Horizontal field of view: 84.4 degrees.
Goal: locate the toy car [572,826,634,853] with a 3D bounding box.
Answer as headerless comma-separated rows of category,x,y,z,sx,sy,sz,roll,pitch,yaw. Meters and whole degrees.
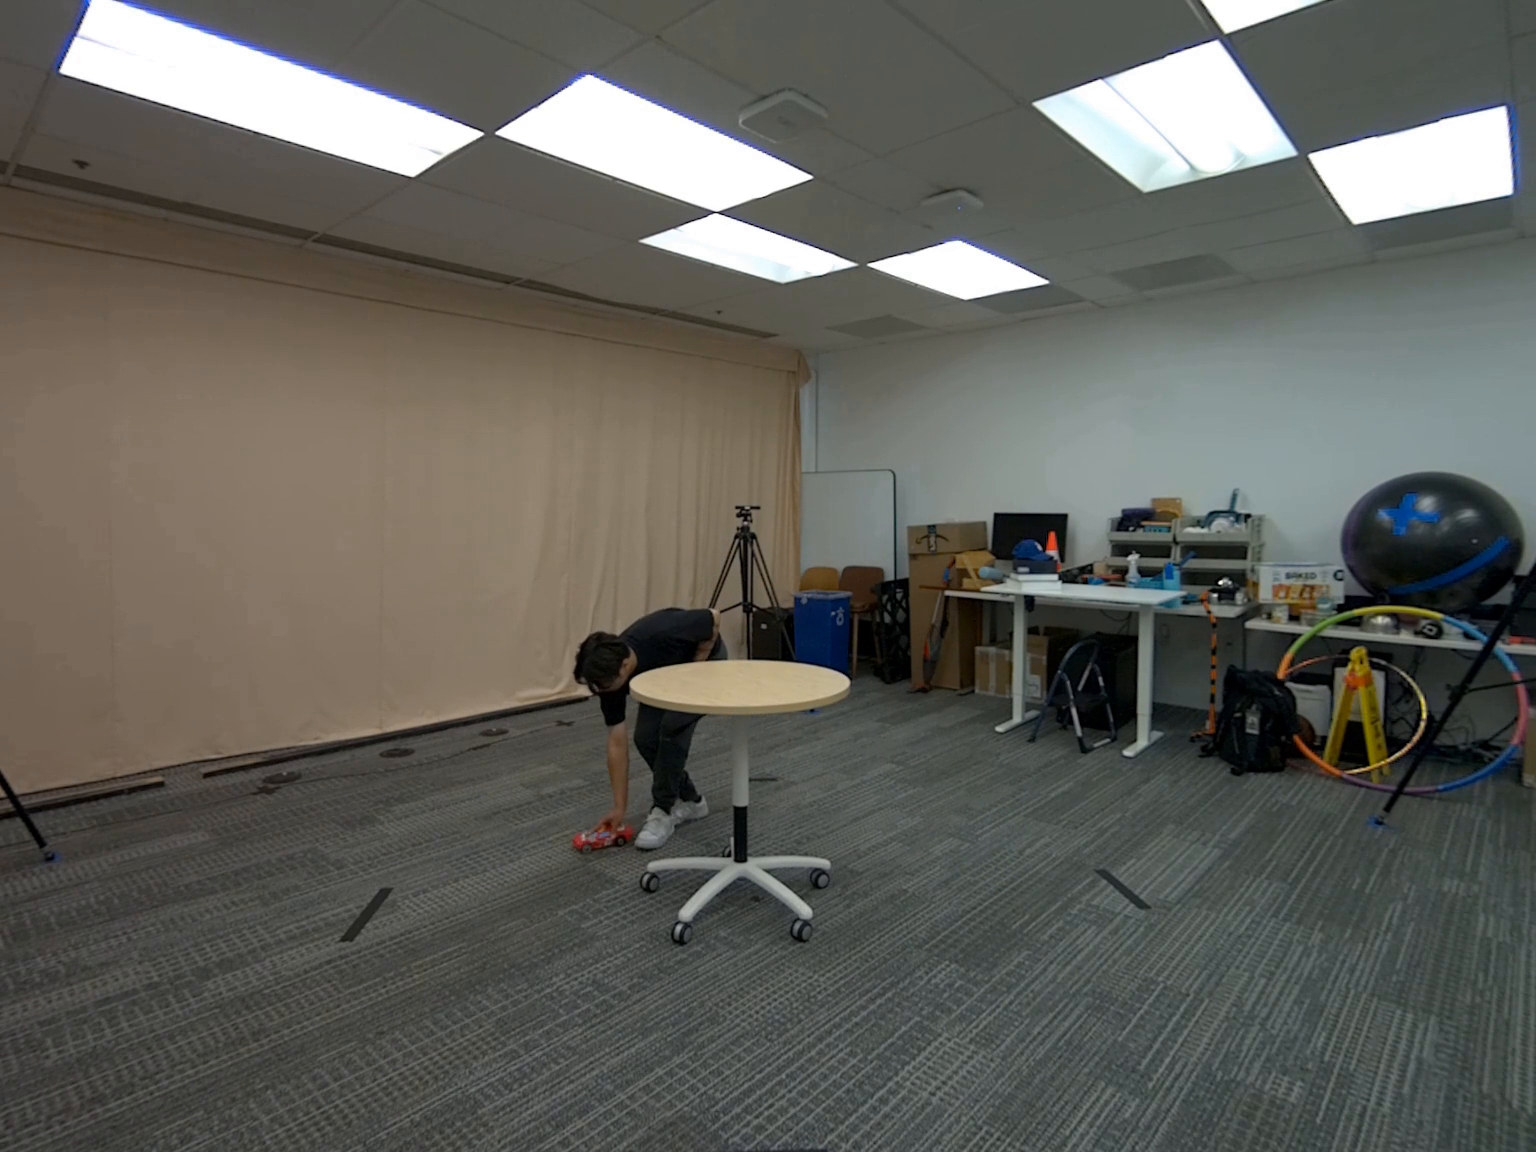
toy car,-0.679,1.080,3.471,0.249,0.083,0.134,-14,9,-25
